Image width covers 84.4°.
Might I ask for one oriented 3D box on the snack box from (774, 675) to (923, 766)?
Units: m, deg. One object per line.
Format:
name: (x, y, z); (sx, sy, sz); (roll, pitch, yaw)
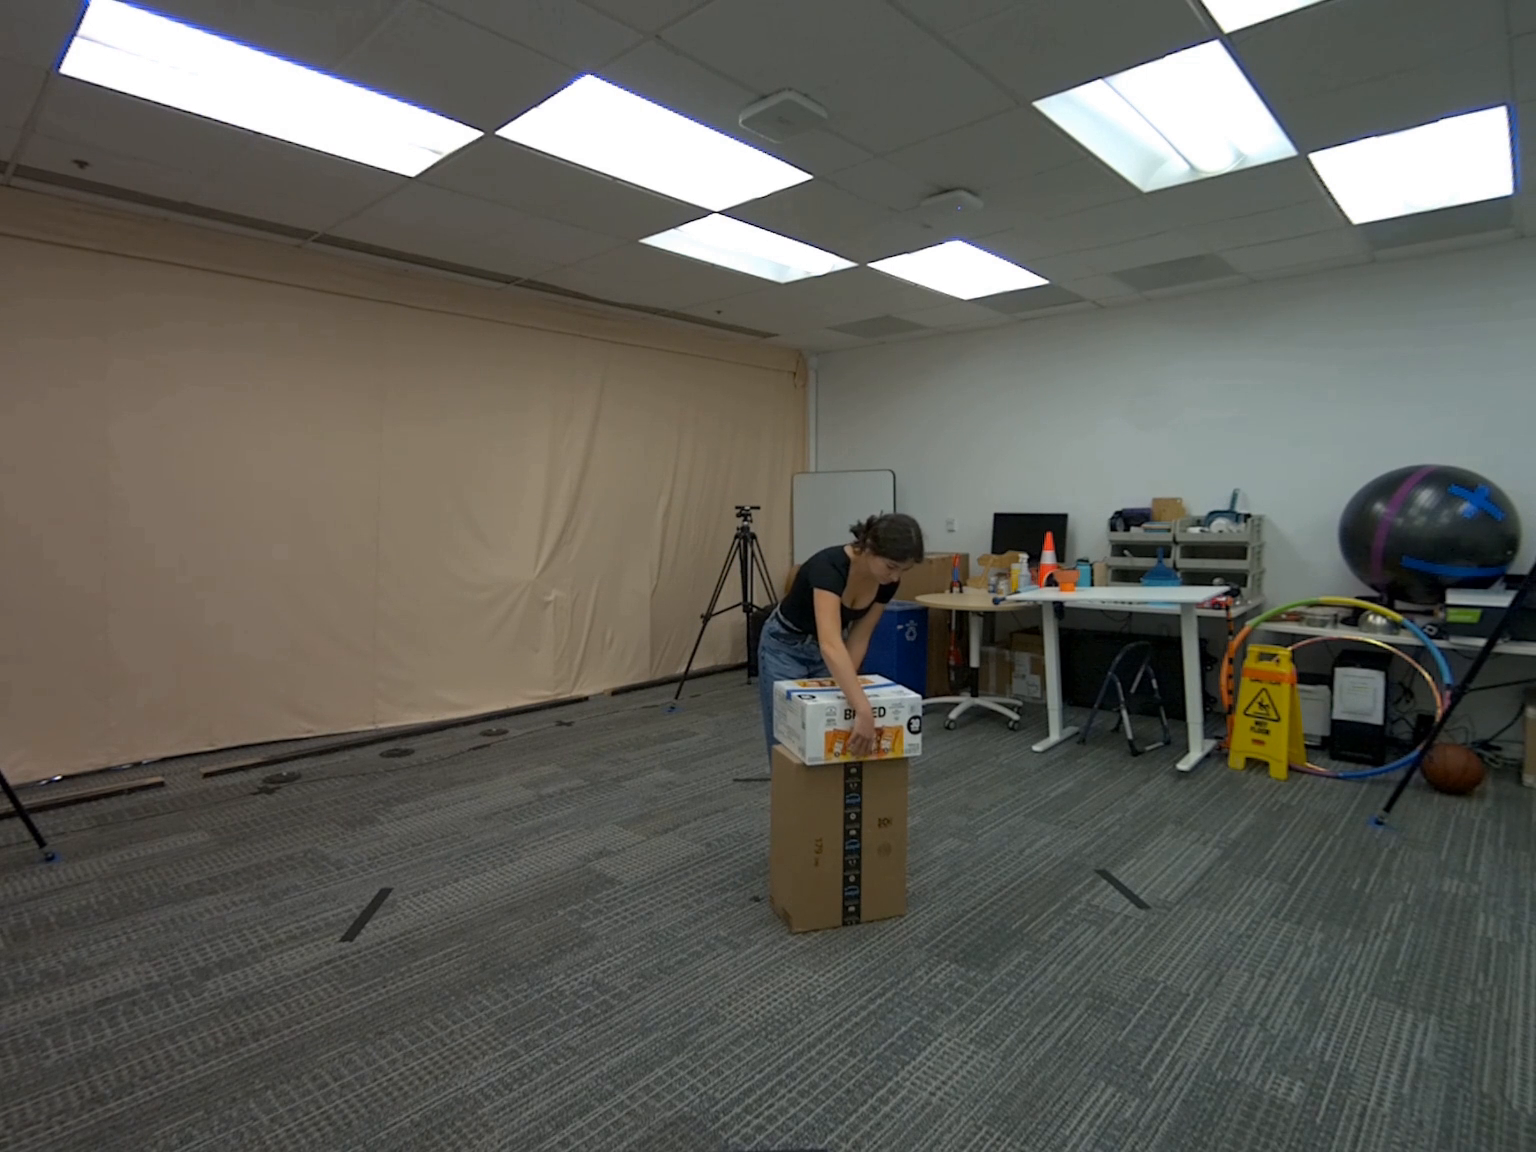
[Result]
snack box: (0.264, 0.483, 2.883); (0.399, 0.205, 0.347); (-2, 5, -16)
